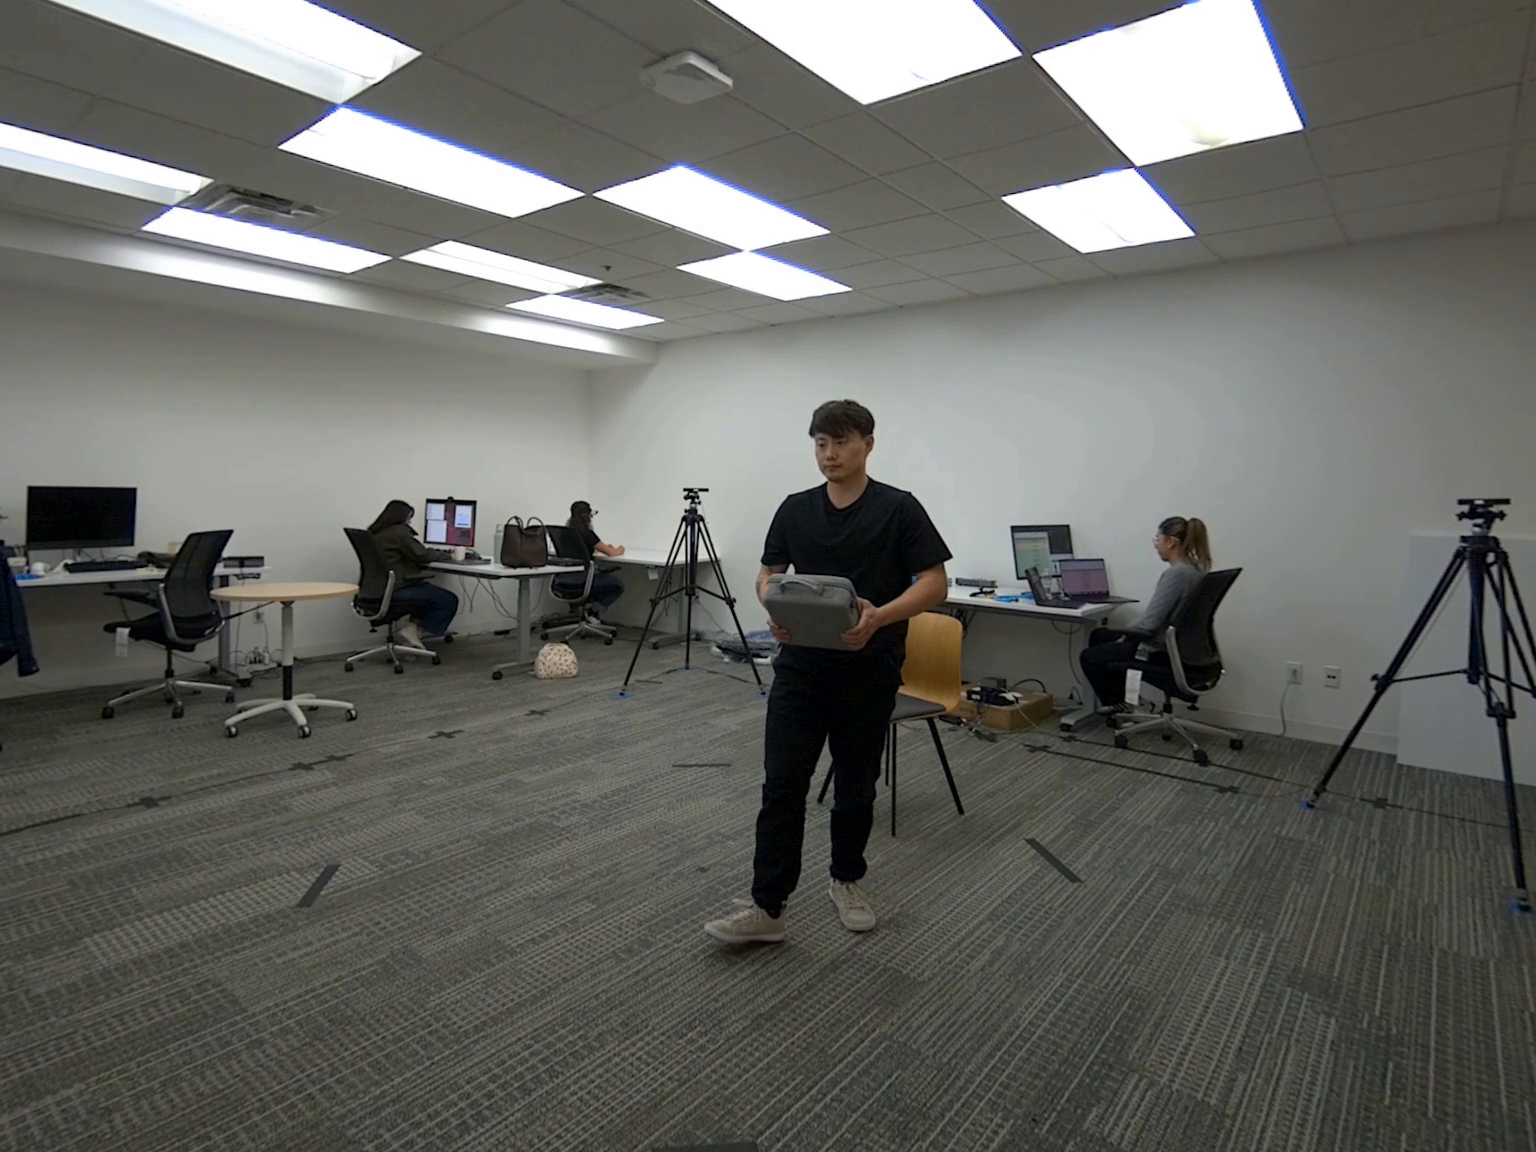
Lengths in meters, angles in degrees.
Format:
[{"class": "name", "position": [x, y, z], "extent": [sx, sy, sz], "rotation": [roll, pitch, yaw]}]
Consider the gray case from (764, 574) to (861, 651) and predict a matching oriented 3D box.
[{"class": "gray case", "position": [0.128, 0.091, 2.441], "extent": [0.263, 0.106, 0.250], "rotation": [3, -35, 24]}]
